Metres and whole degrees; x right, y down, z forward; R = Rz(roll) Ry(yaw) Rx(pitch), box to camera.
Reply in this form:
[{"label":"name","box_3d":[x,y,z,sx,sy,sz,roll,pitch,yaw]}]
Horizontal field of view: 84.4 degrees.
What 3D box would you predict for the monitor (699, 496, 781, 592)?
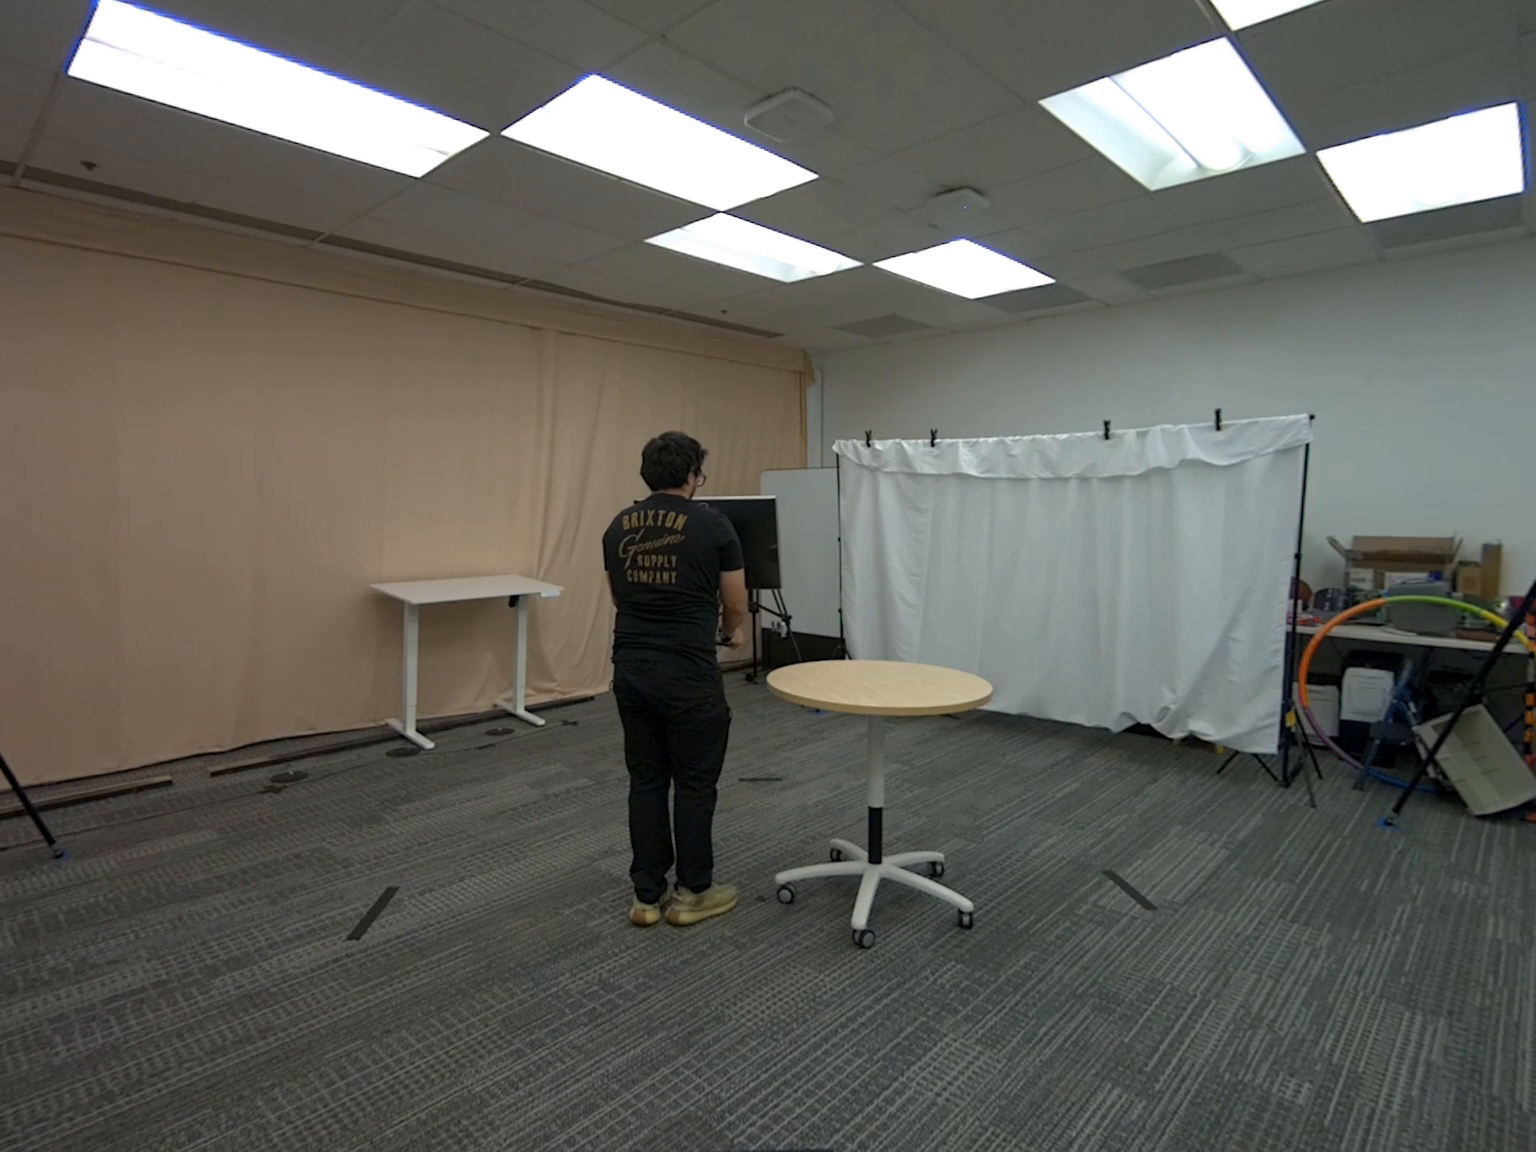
[{"label":"monitor","box_3d":[-0.237,-0.022,3.150,0.575,0.549,0.208,1,12,16]}]
